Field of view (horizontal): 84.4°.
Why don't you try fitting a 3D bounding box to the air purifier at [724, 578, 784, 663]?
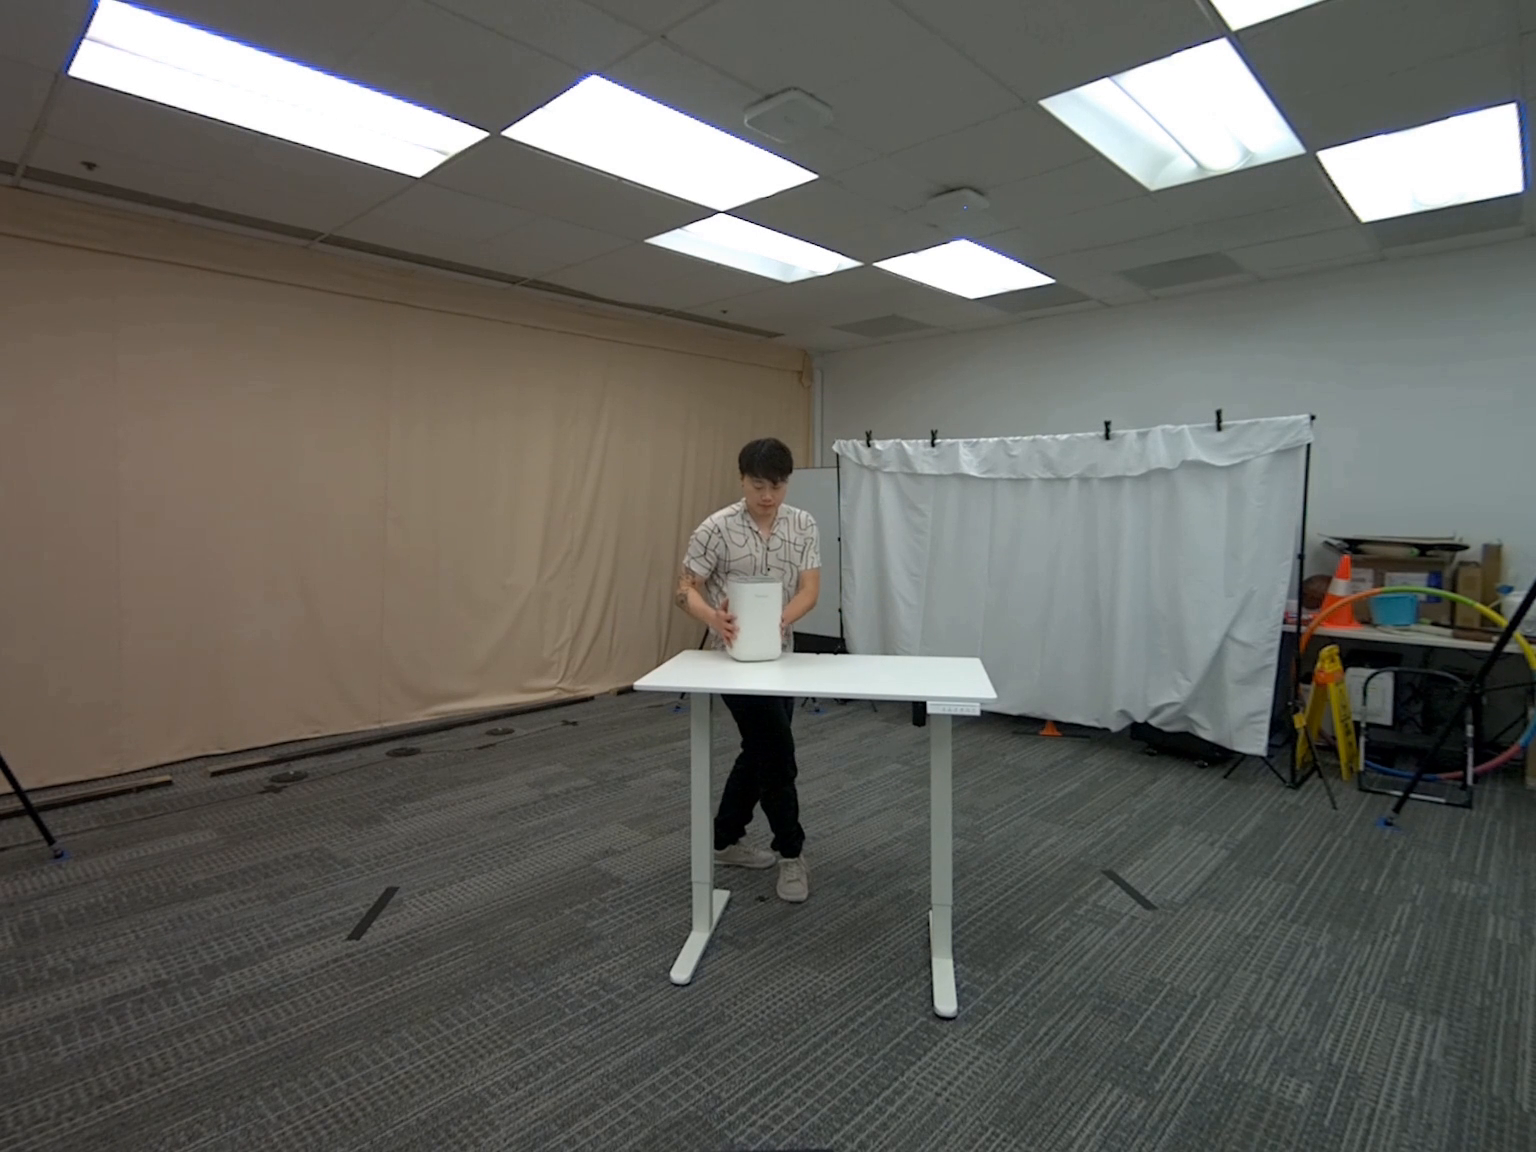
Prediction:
[{"bbox_3d":[-0.049,0.140,2.811,0.168,0.264,0.175,1,5,-16],"label":"air purifier"}]
